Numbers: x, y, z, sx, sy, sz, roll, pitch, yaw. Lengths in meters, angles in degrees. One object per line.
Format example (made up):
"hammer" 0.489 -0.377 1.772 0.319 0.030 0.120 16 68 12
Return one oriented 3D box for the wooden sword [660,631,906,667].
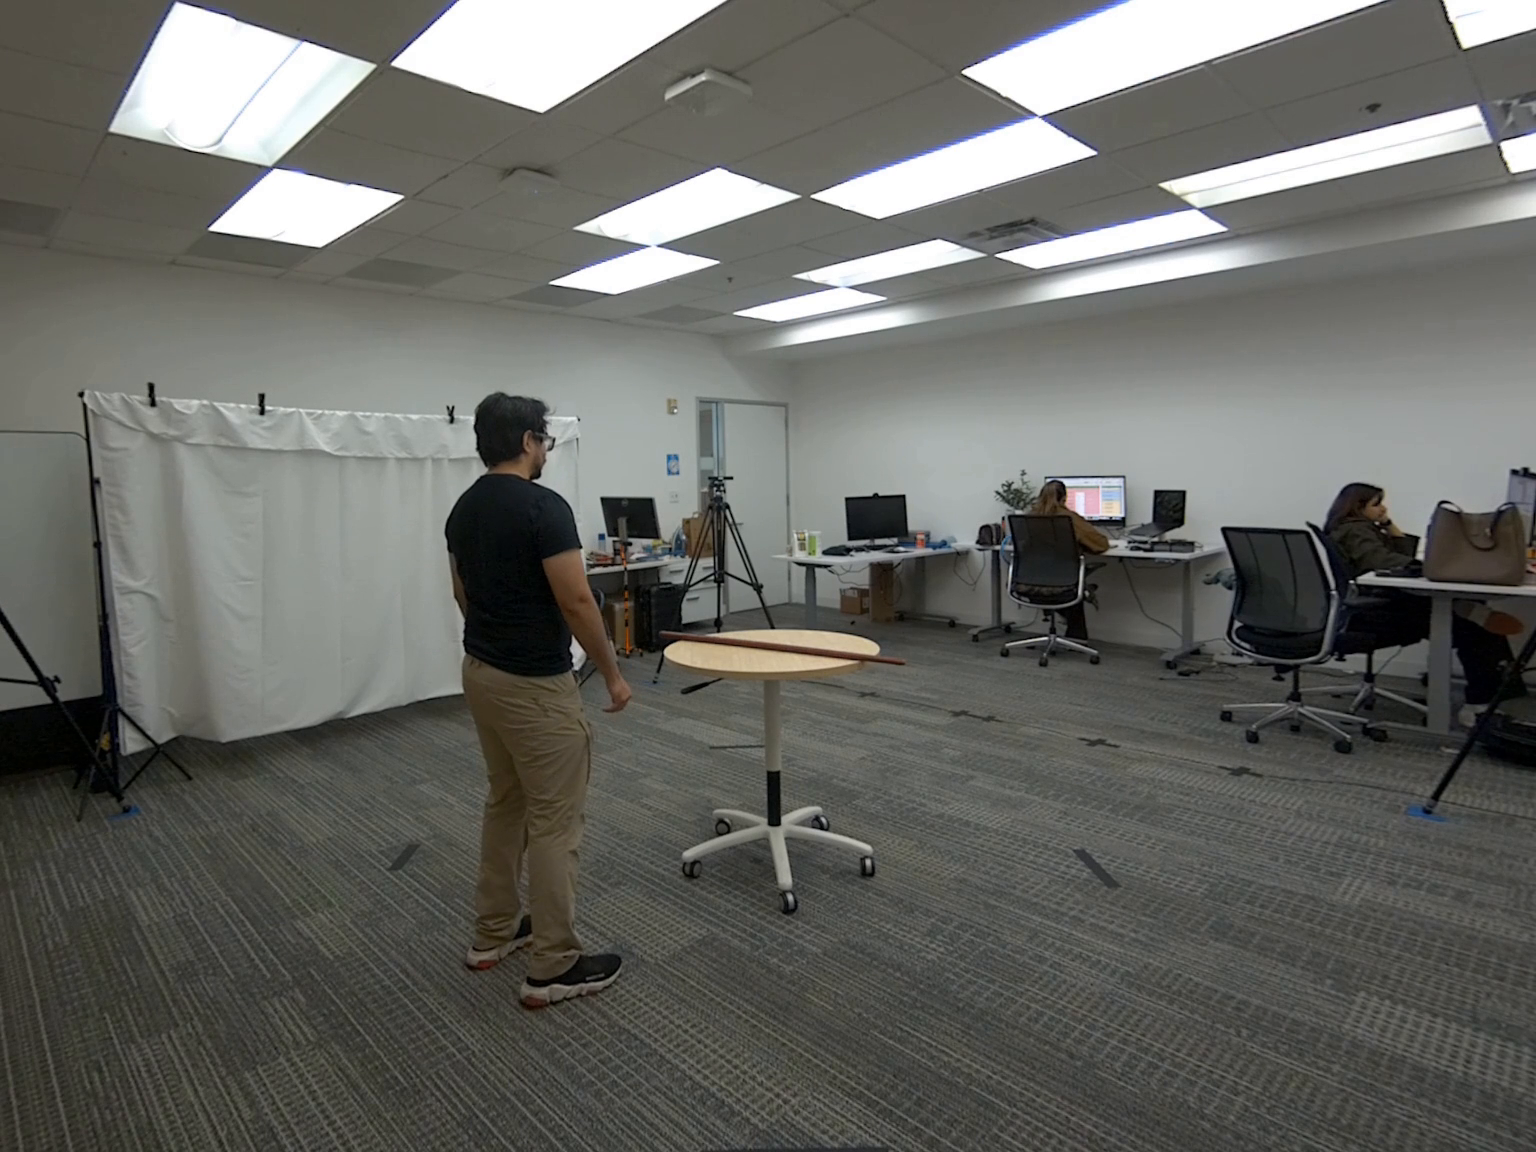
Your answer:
"wooden sword" 0.016 0.256 3.004 1.054 0.049 0.024 3 47 35
